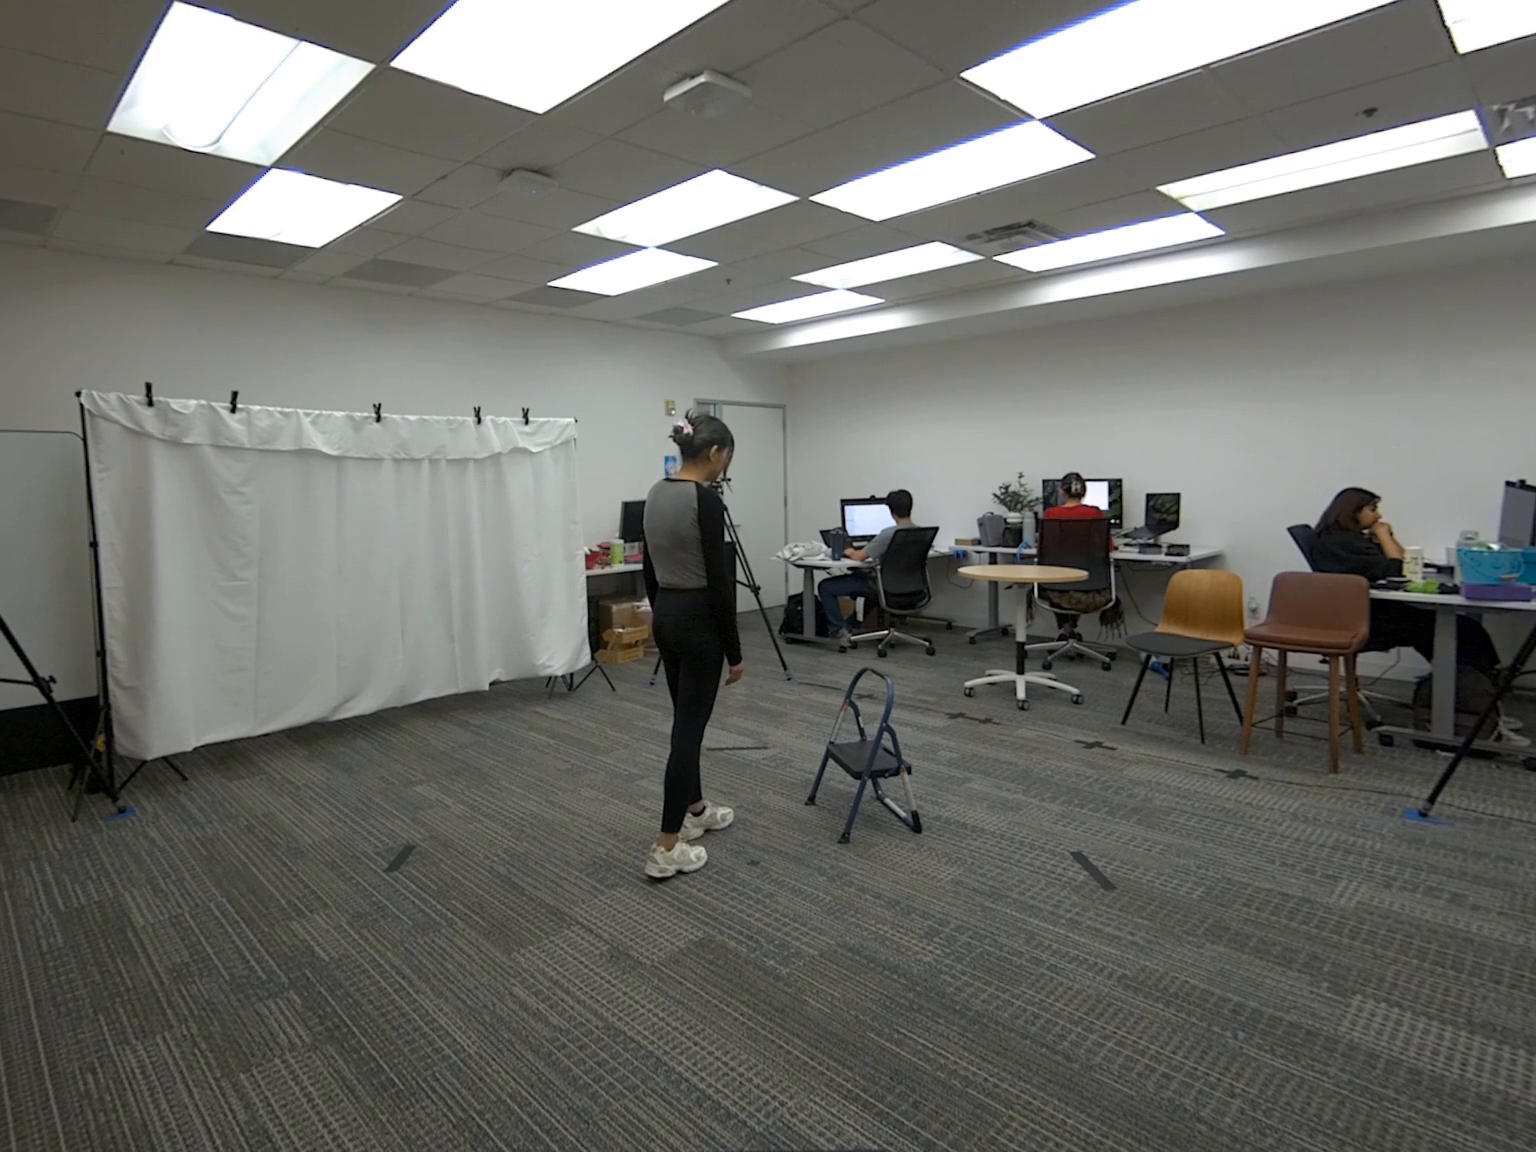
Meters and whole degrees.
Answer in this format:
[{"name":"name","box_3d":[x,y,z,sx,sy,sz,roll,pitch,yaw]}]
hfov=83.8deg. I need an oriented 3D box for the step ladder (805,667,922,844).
[{"name":"step ladder","box_3d":[0.384,0.691,3.485,0.344,0.604,0.438,-2,4,-16]}]
